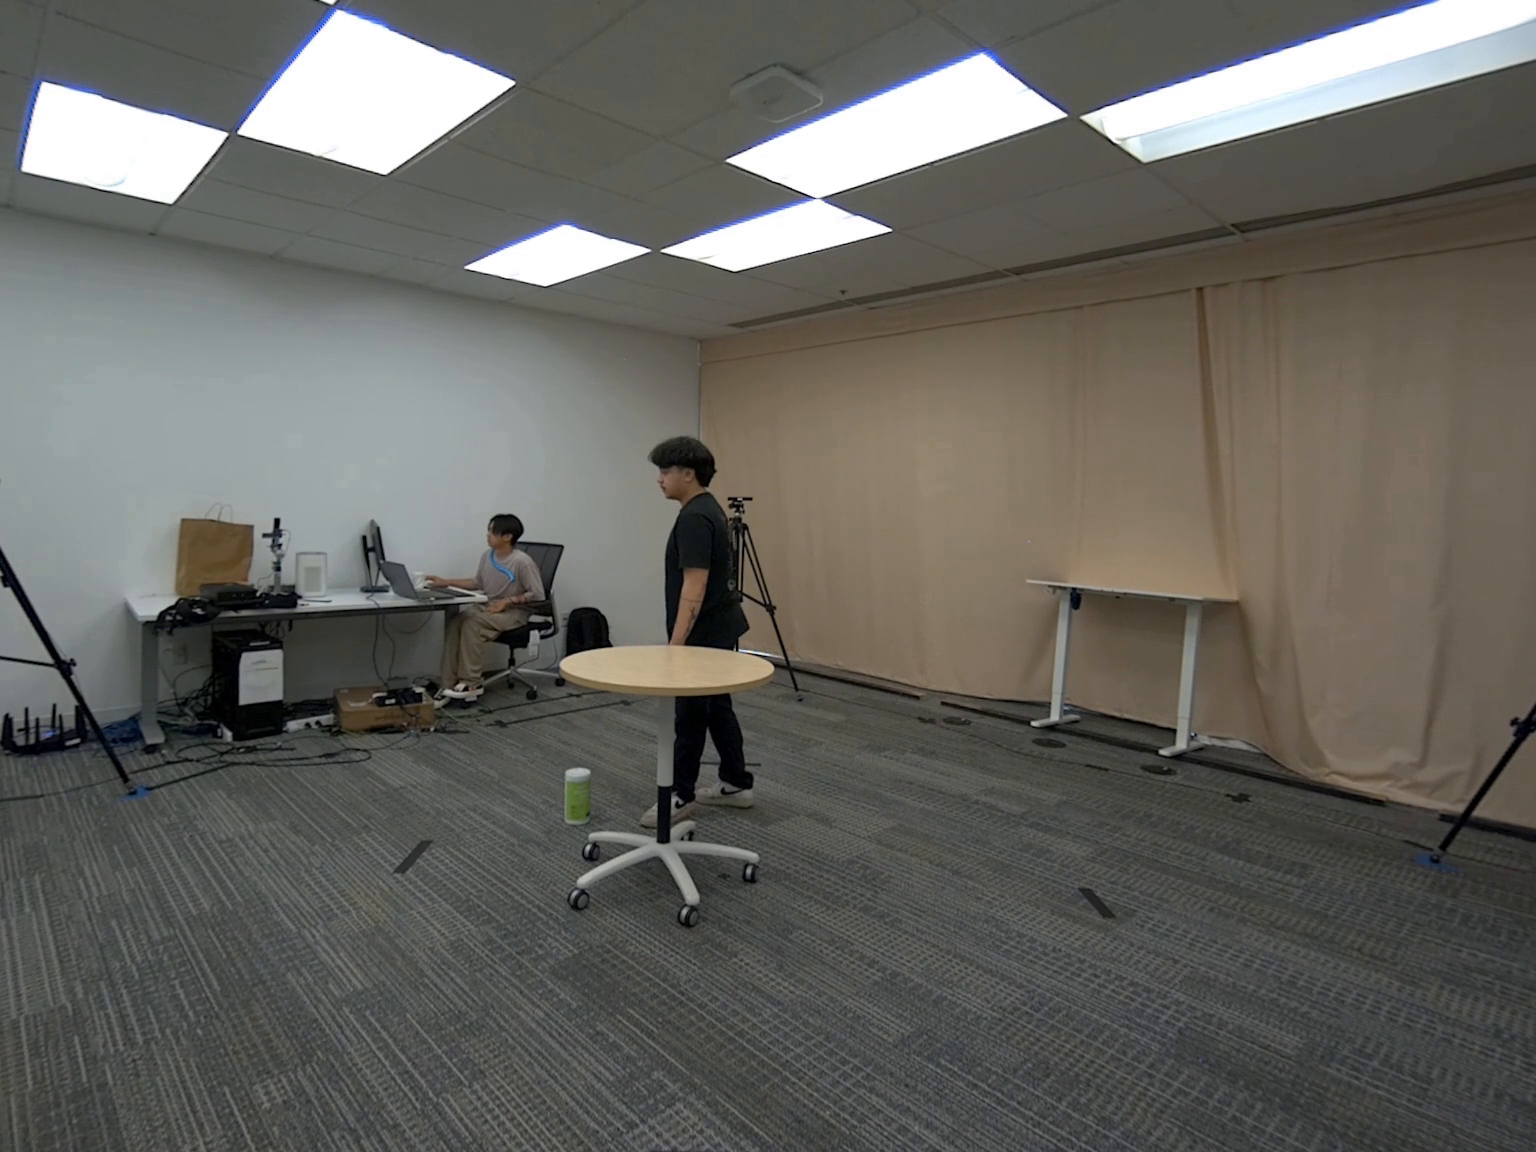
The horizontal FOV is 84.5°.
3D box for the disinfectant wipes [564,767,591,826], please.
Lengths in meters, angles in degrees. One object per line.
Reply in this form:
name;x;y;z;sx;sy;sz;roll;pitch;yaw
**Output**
disinfectant wipes;-0.820;0.936;3.603;0.118;0.217;0.118;2;5;-2
